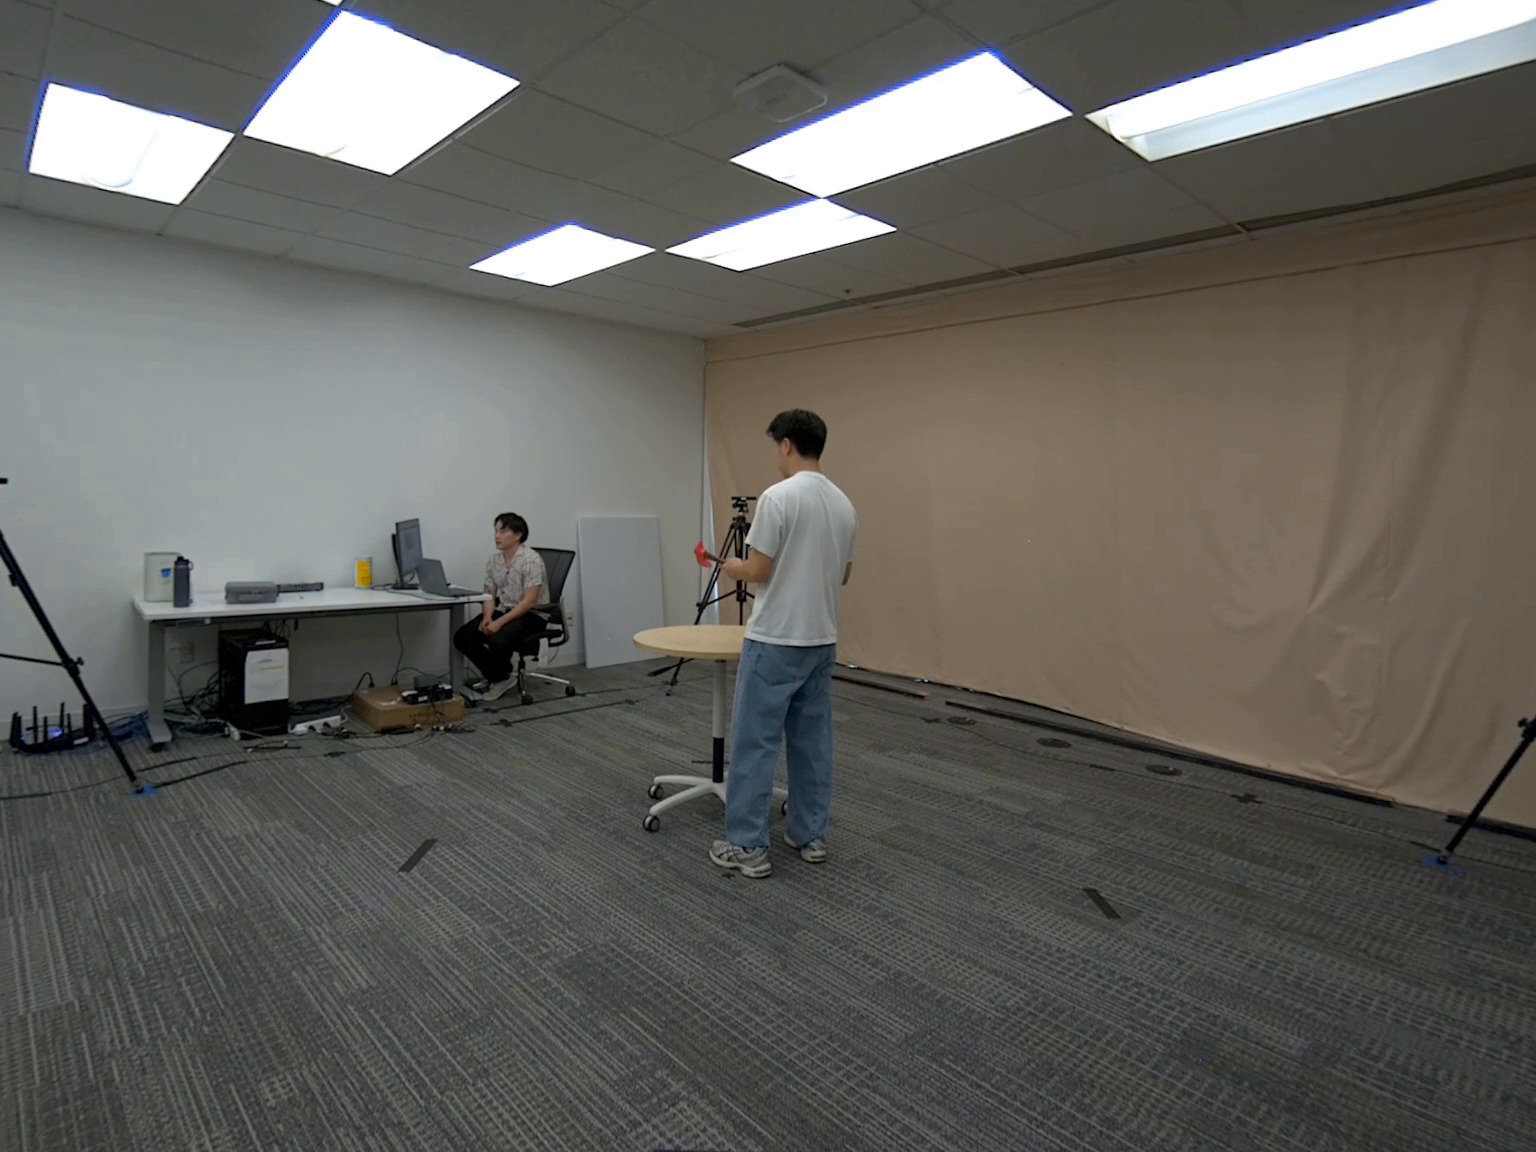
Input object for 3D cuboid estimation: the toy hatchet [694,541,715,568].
[{"bbox_3d":[-0.198,-0.043,3.486,0.273,0.130,0.029,40,48,10],"label":"toy hatchet"}]
